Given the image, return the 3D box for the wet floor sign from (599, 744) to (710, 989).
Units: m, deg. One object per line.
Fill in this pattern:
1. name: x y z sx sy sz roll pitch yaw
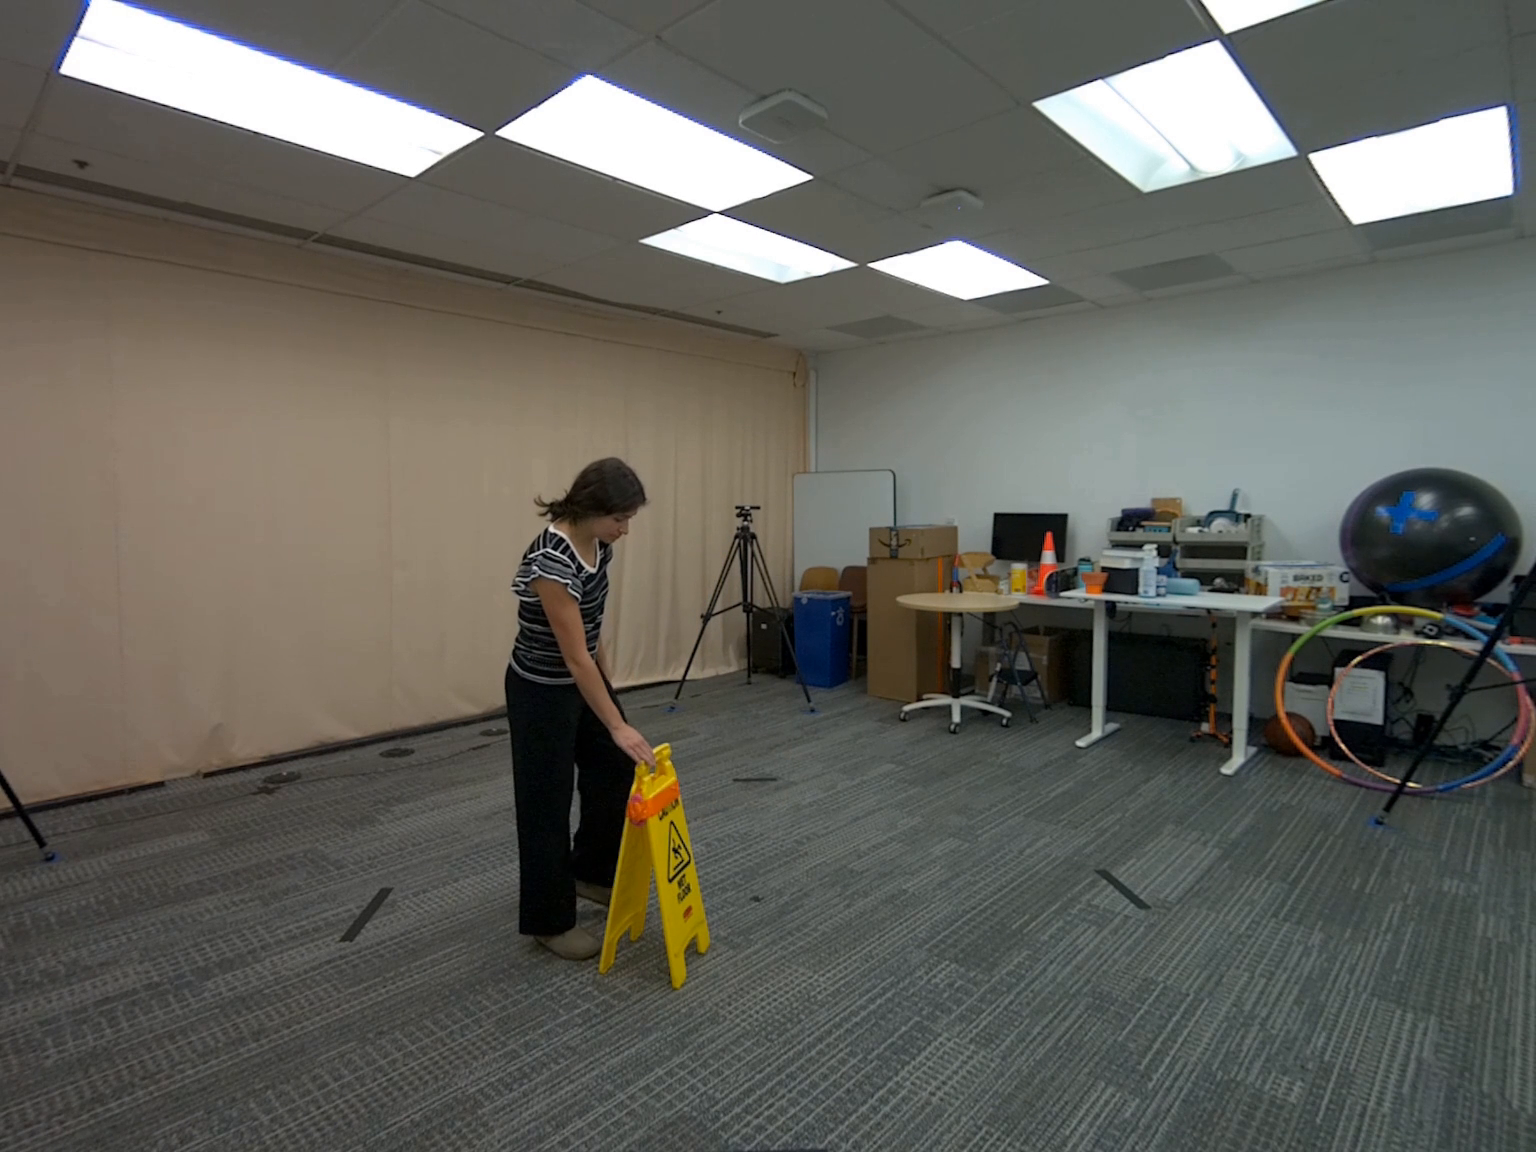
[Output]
1. wet floor sign: -0.351 0.859 2.574 0.295 0.645 0.277 0 1 17
